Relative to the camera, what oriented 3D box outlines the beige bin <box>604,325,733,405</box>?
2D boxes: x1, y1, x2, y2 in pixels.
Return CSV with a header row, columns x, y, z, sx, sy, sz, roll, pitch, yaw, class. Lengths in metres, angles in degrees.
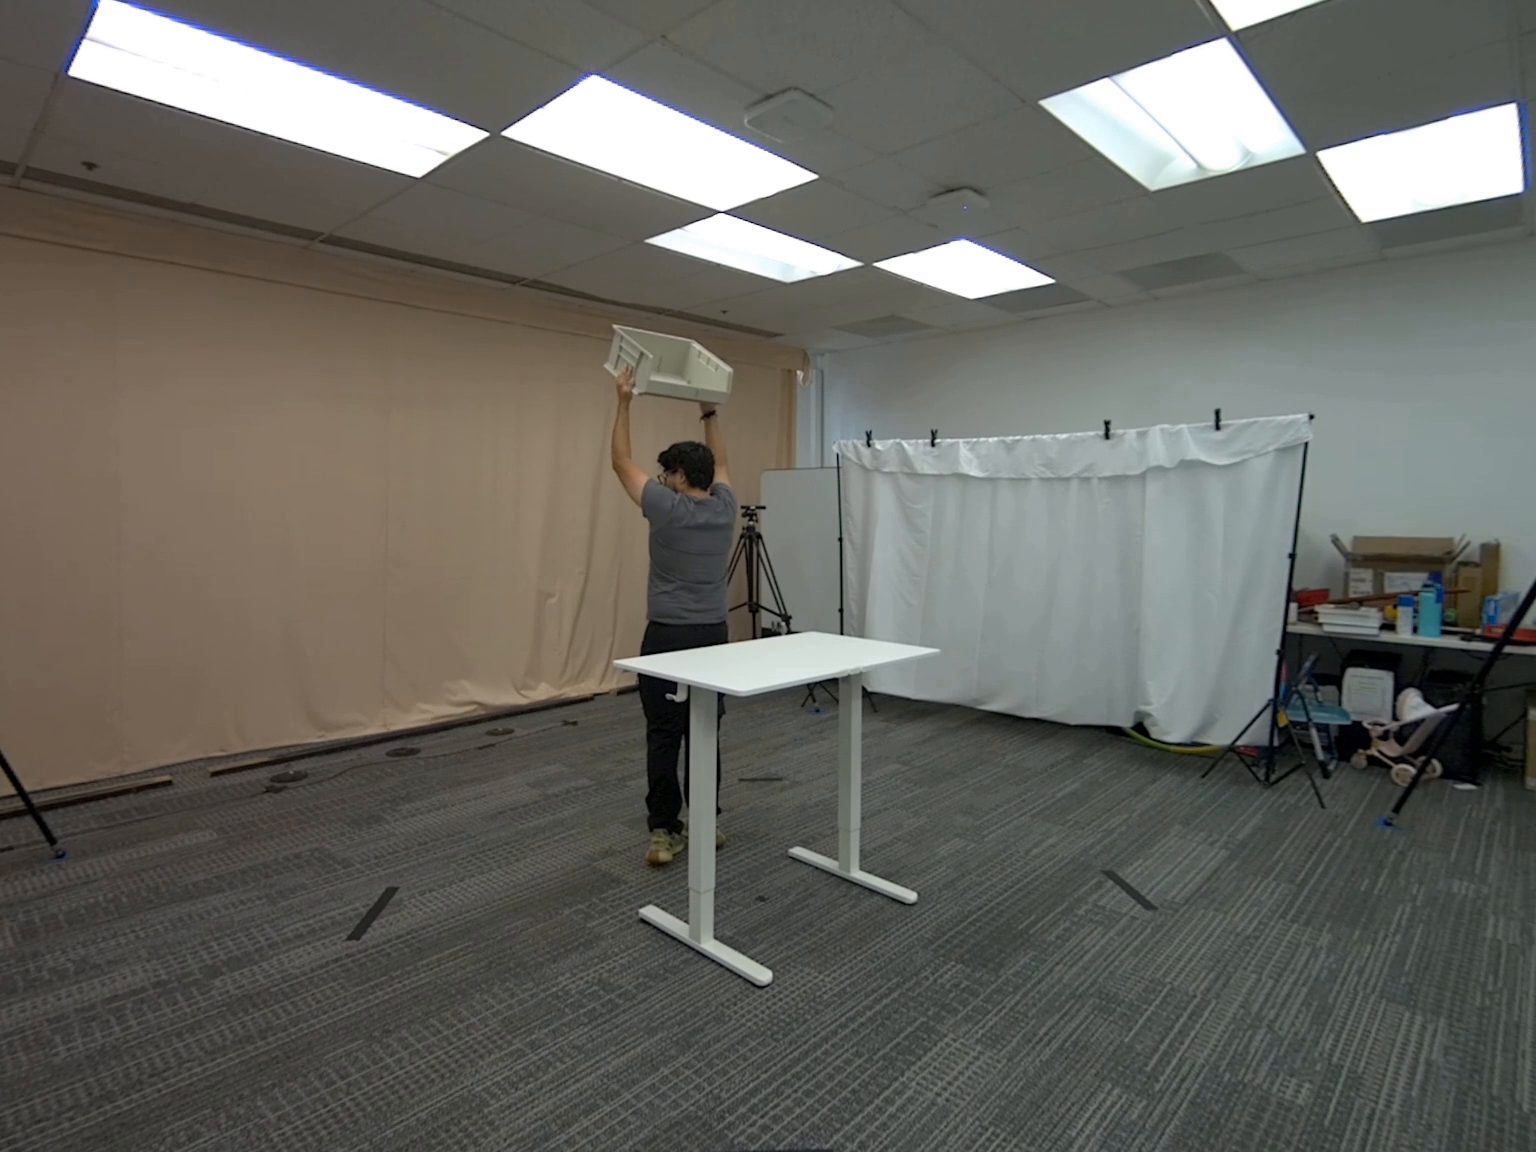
x,y,z,sx,sy,sz,roll,pitch,yaw,class
-0.423,-0.877,3.574,0.409,0.188,0.391,-1,32,-38,beige bin
